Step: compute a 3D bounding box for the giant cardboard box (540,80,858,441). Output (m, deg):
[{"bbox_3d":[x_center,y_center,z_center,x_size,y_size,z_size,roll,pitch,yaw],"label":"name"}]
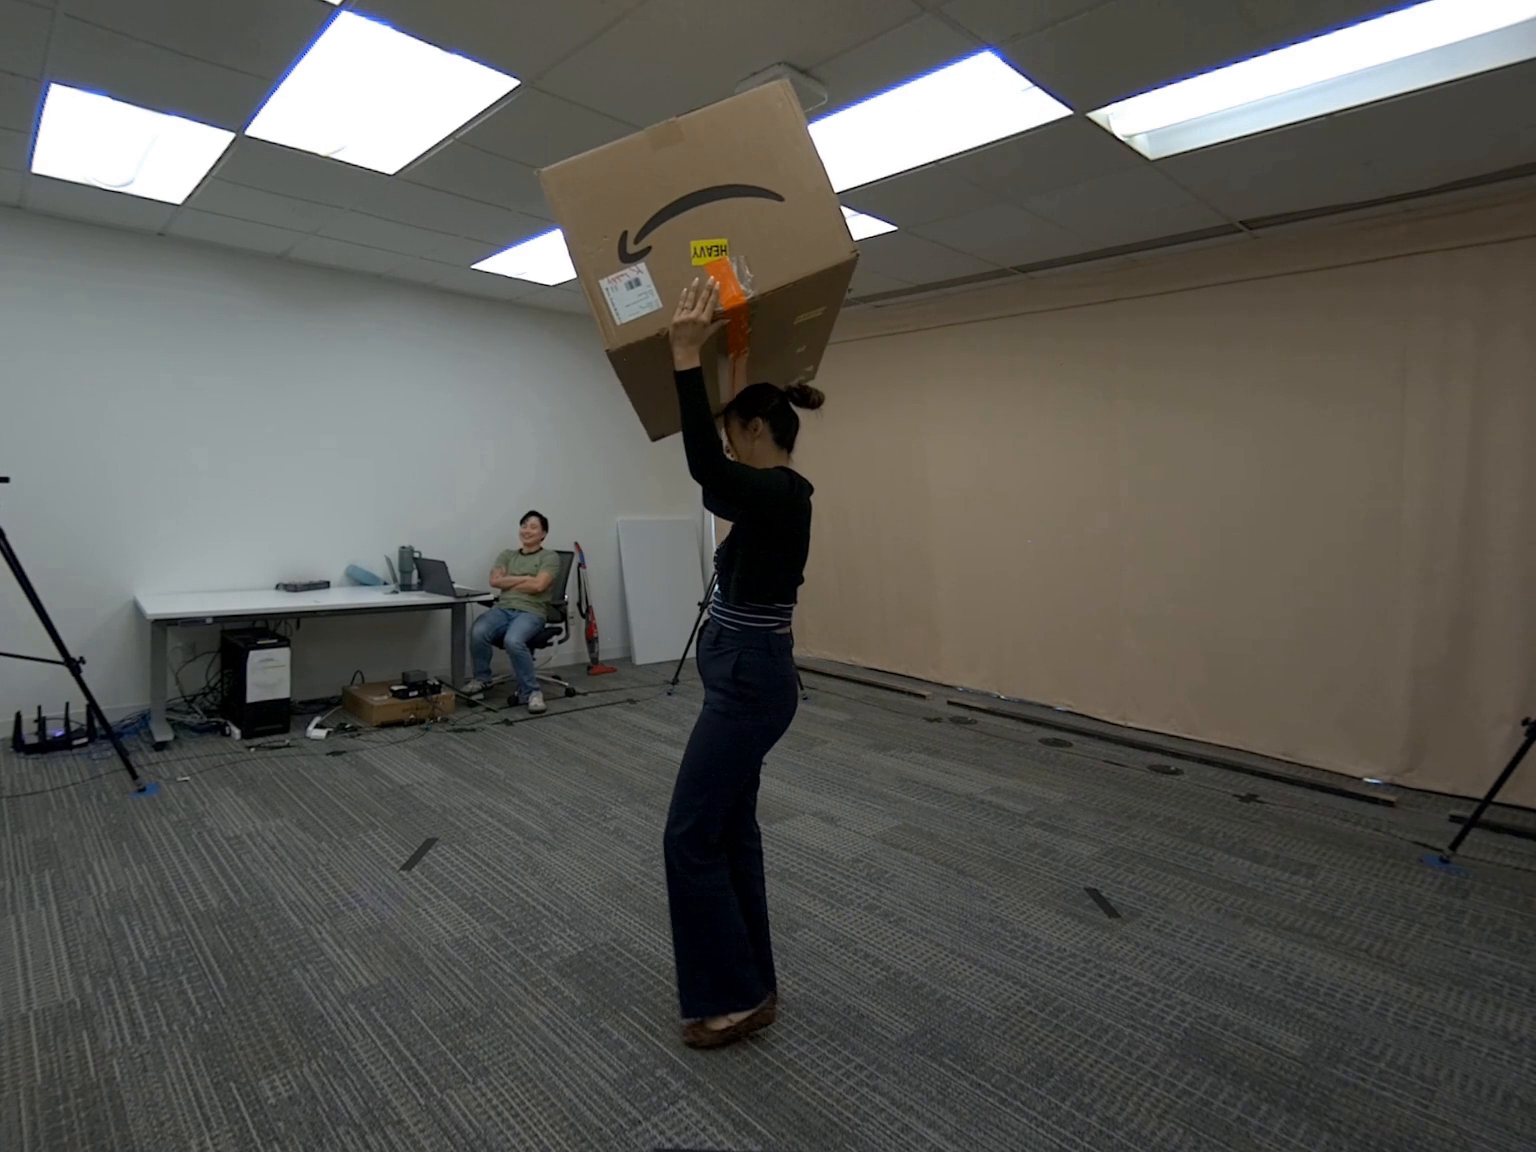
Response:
[{"bbox_3d":[-0.173,-0.743,2.260,0.577,0.427,1.023,-21,-2,-2],"label":"giant cardboard box"}]
